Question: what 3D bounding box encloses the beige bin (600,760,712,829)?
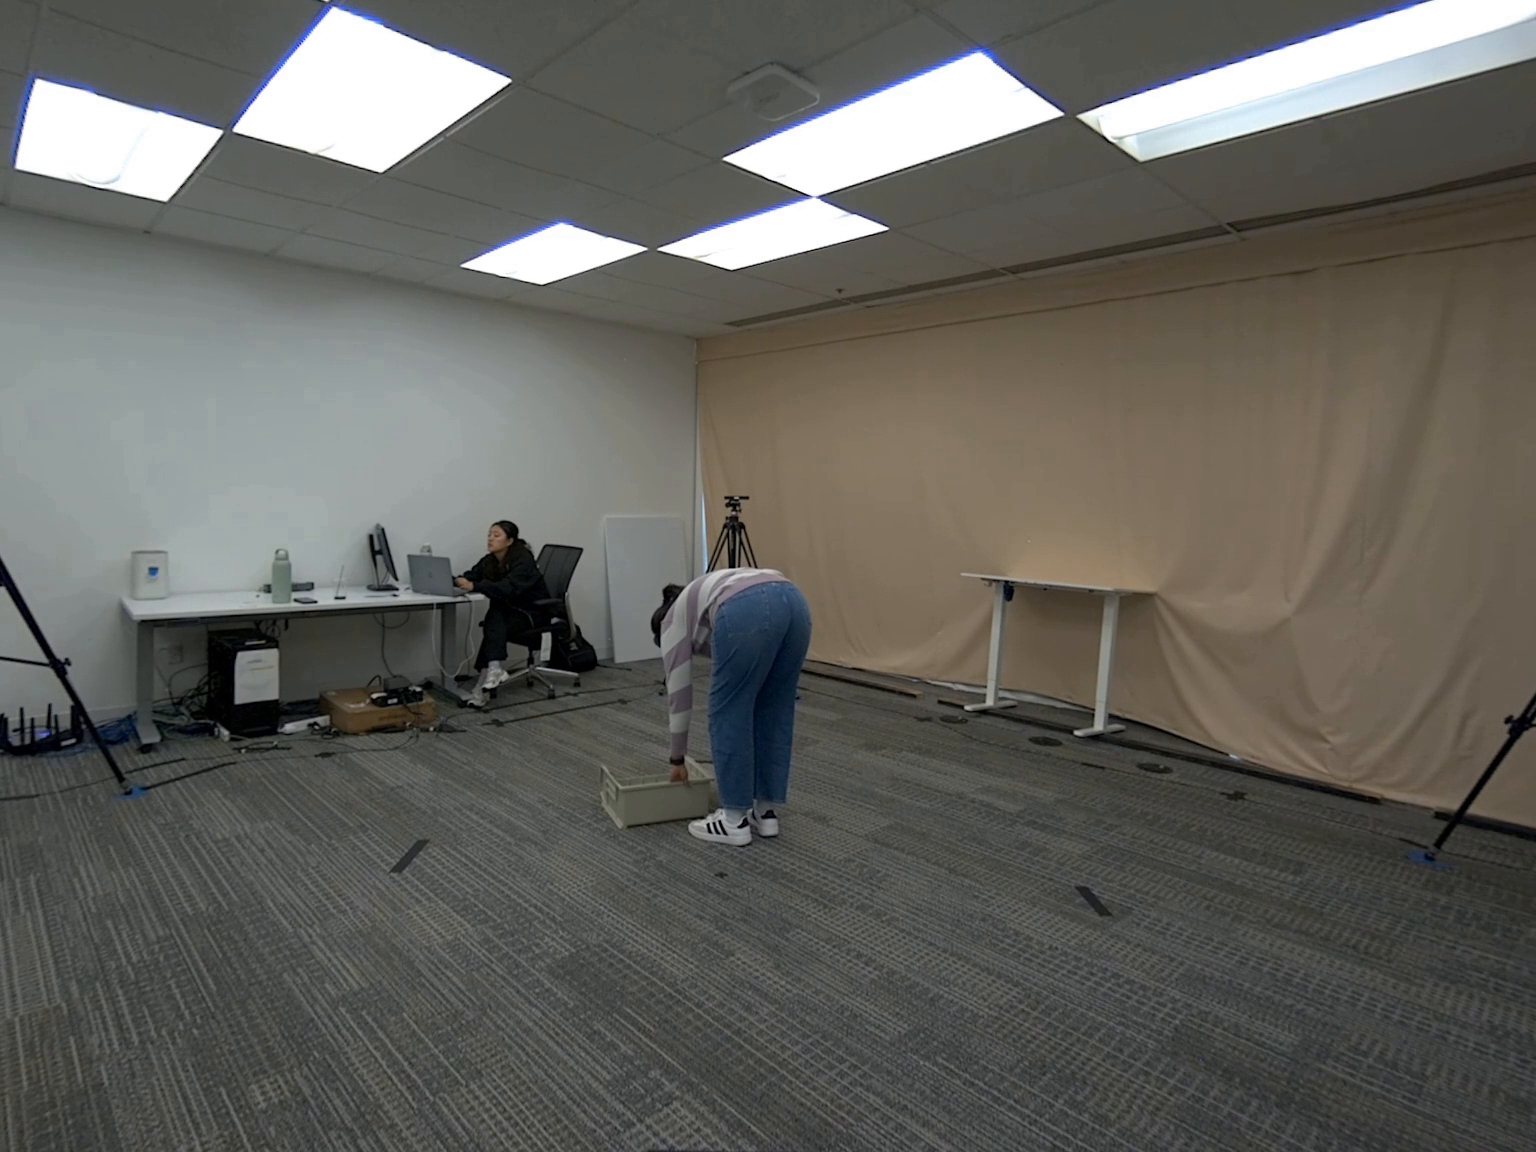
[{"bbox_3d":[-0.512,0.946,3.746,0.415,0.188,0.385,0,6,-25],"label":"beige bin"}]
